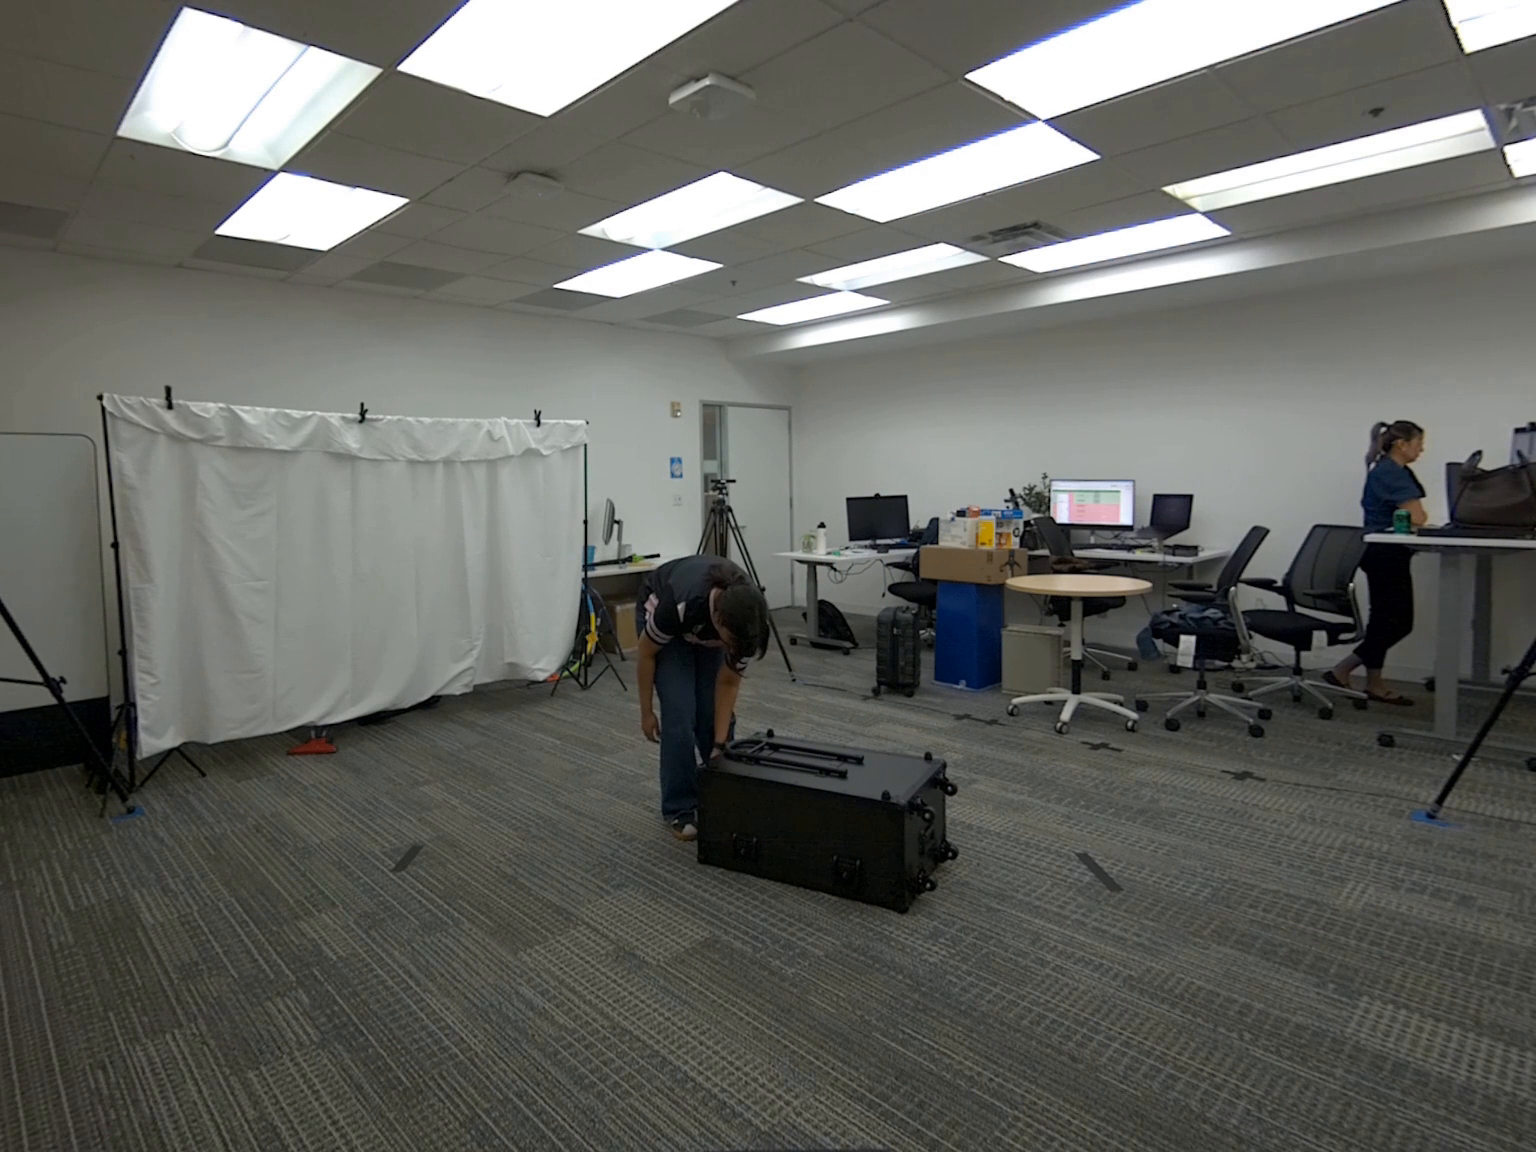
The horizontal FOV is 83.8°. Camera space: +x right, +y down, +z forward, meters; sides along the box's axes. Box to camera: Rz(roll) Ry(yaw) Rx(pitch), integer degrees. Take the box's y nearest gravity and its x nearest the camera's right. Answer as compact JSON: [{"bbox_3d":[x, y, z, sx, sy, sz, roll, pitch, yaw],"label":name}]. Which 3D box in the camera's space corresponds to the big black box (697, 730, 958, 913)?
[{"bbox_3d":[0.234,0.855,3.105,0.891,0.384,0.512,3,5,28],"label":"big black box"}]
